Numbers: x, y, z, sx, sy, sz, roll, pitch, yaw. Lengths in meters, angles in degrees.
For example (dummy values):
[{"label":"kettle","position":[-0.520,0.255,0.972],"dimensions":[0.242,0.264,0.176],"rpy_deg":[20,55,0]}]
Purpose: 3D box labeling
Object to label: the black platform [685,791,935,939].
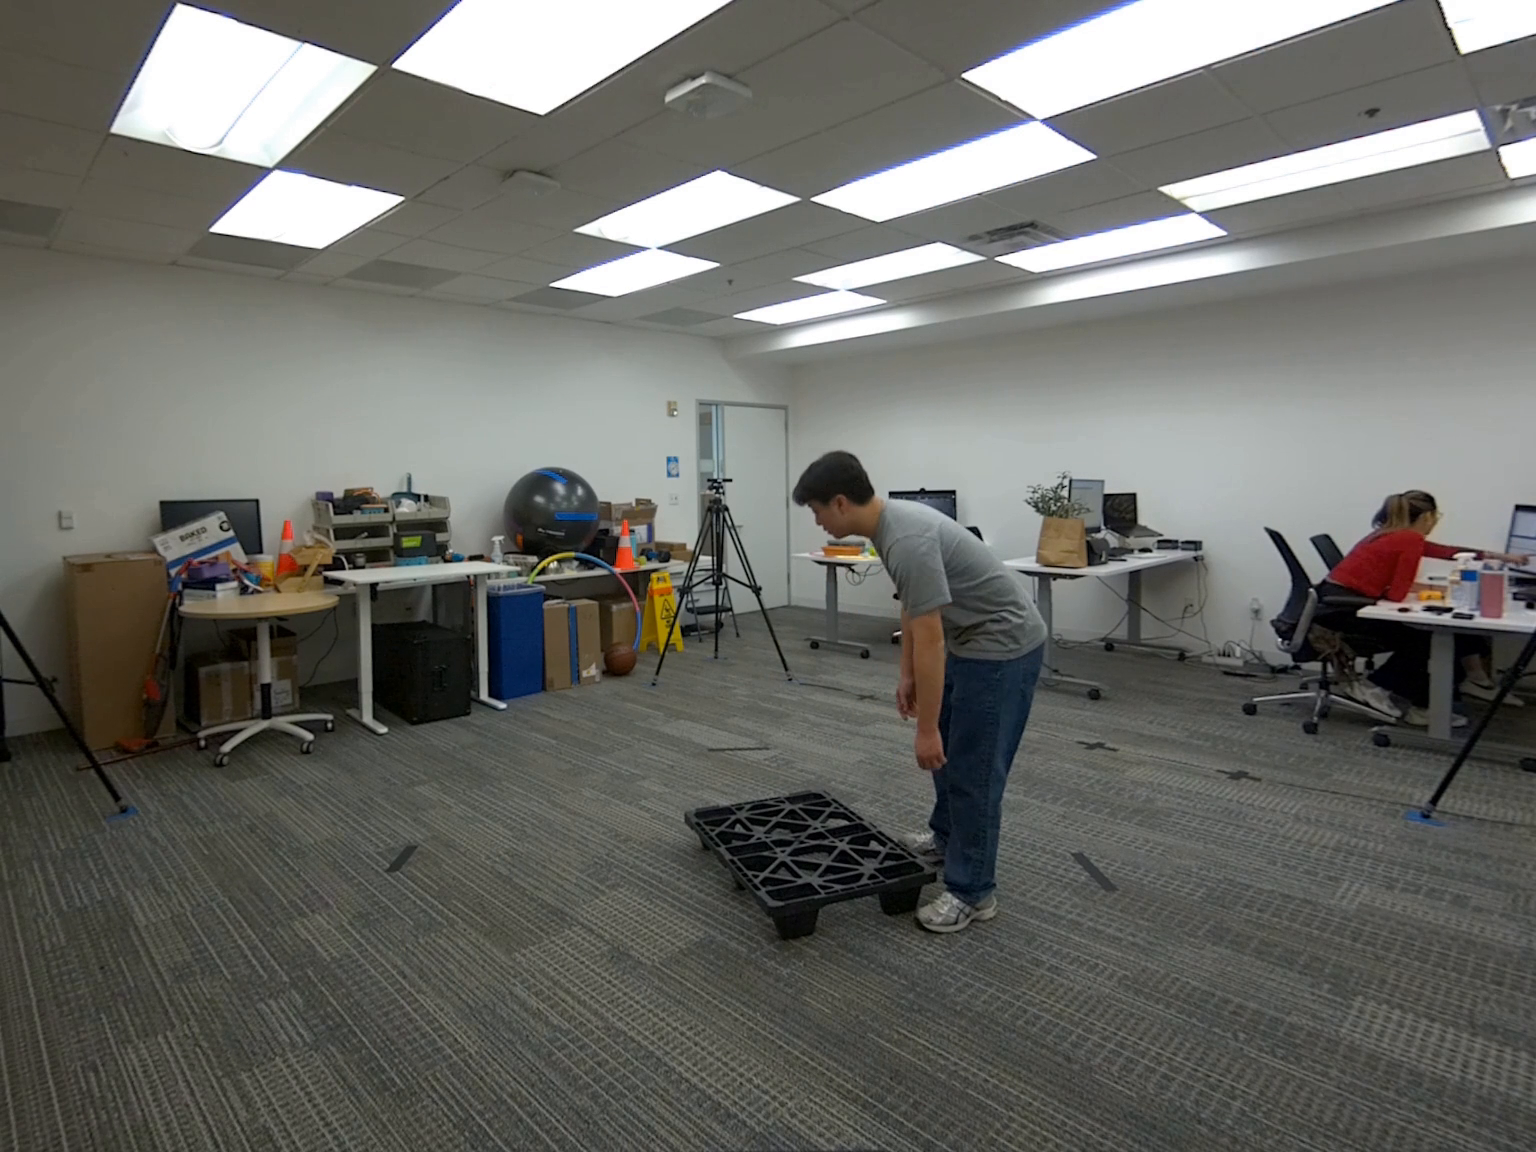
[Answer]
[{"label":"black platform","position":[0.111,0.987,3.000],"dimensions":[0.594,0.142,0.825],"rpy_deg":[-4,7,-23]}]
